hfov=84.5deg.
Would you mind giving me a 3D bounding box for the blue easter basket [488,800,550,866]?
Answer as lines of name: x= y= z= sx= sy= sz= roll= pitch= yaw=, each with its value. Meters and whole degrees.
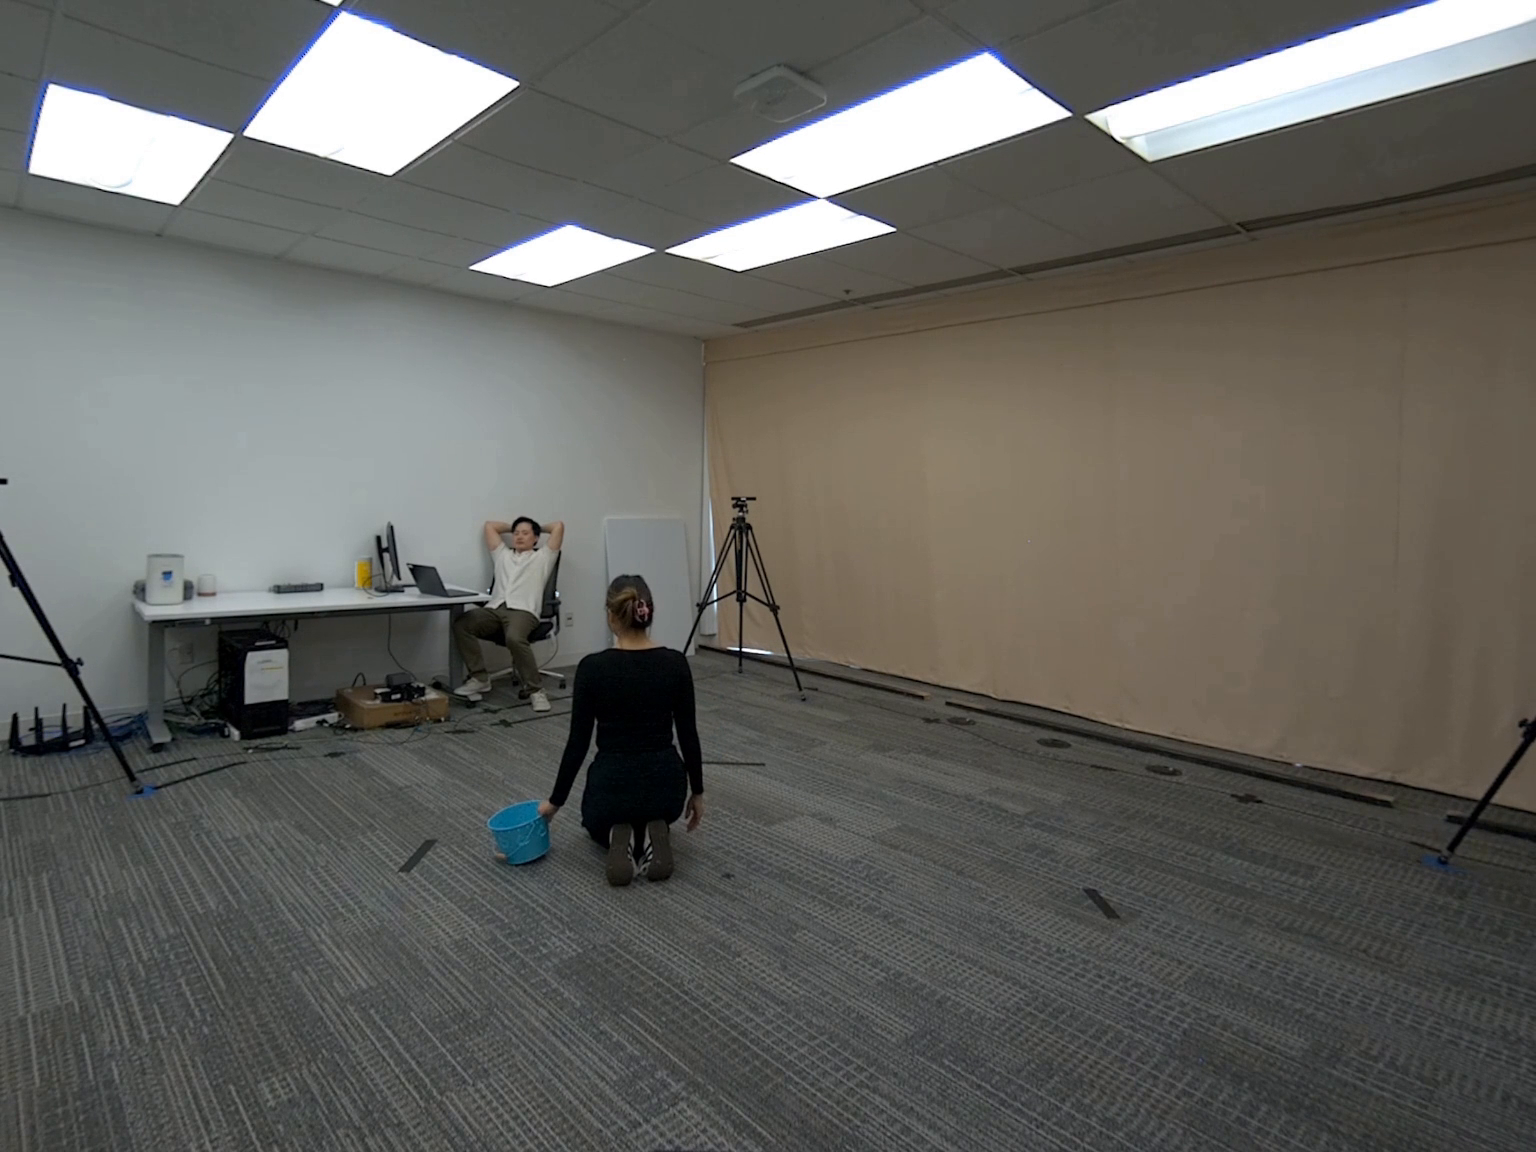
blue easter basket: x=-0.946 y=0.975 z=3.222 sx=0.243 sy=0.155 sz=0.245 roll=-9 pitch=6 yaw=0
